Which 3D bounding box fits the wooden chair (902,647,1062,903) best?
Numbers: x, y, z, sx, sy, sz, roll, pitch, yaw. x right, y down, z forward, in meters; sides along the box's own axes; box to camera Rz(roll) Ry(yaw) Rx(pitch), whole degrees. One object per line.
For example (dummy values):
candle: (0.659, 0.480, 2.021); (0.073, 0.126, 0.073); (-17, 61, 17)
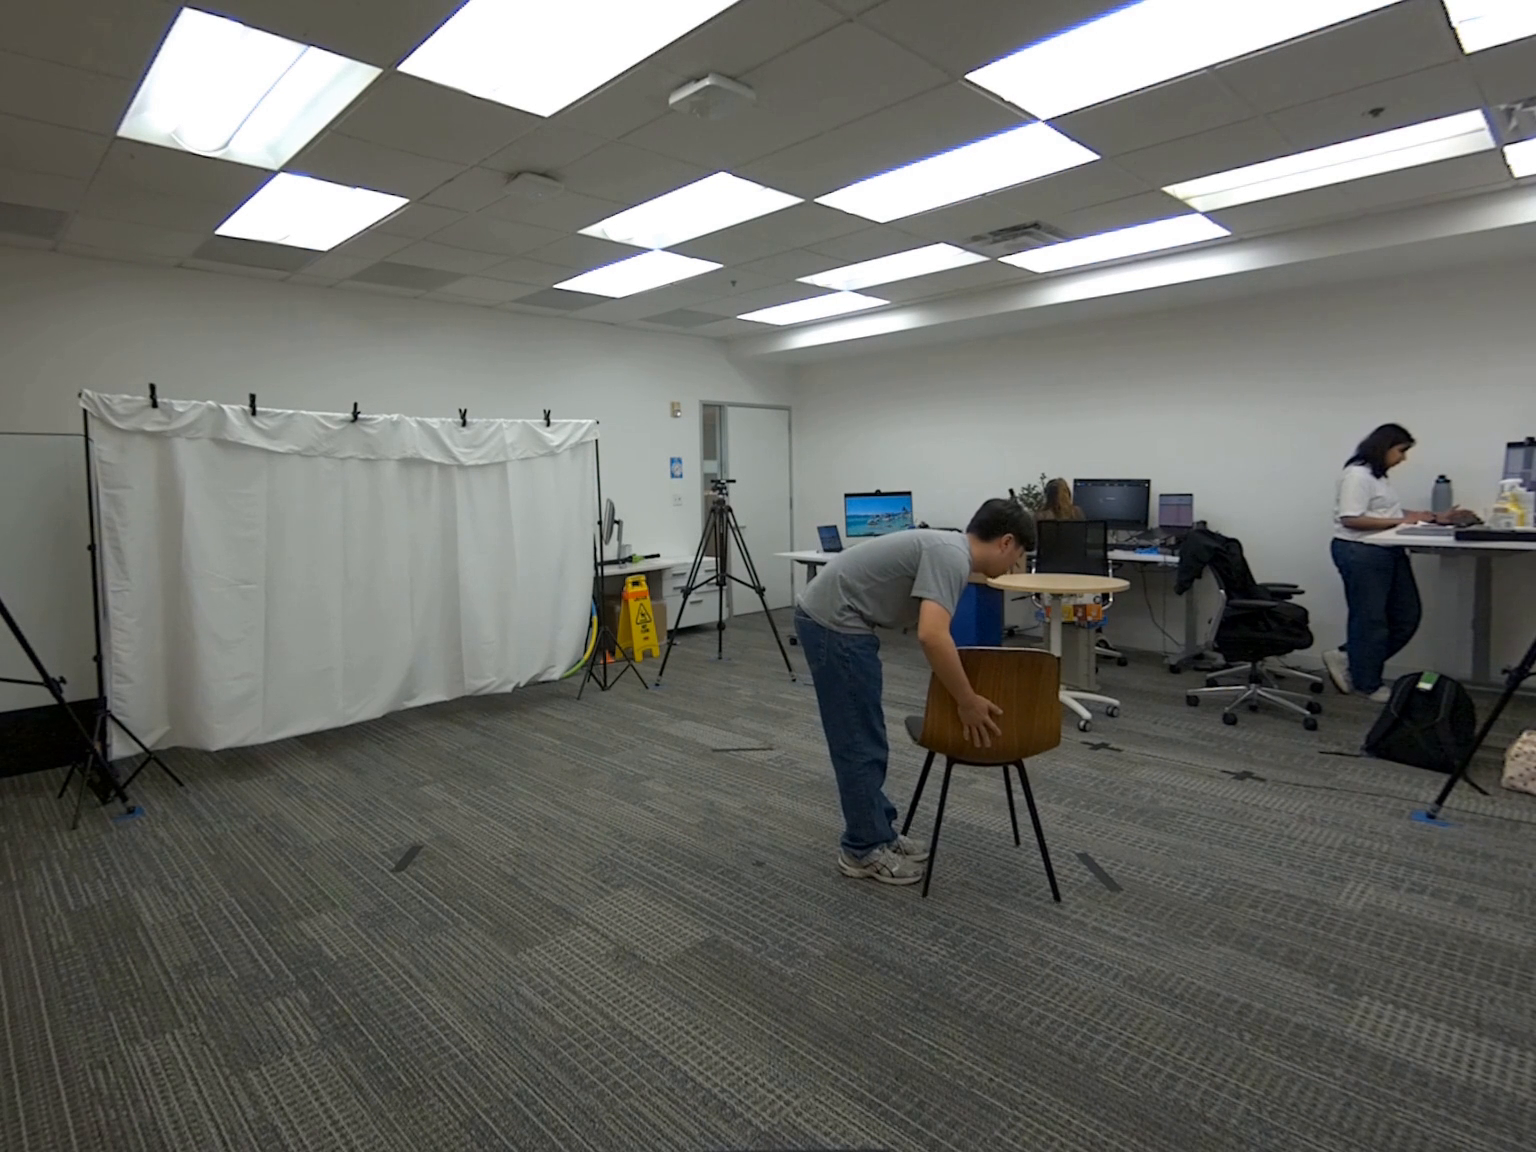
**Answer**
wooden chair: (0.728, 0.602, 2.996); (0.479, 0.871, 0.526); (0, 8, 0)
